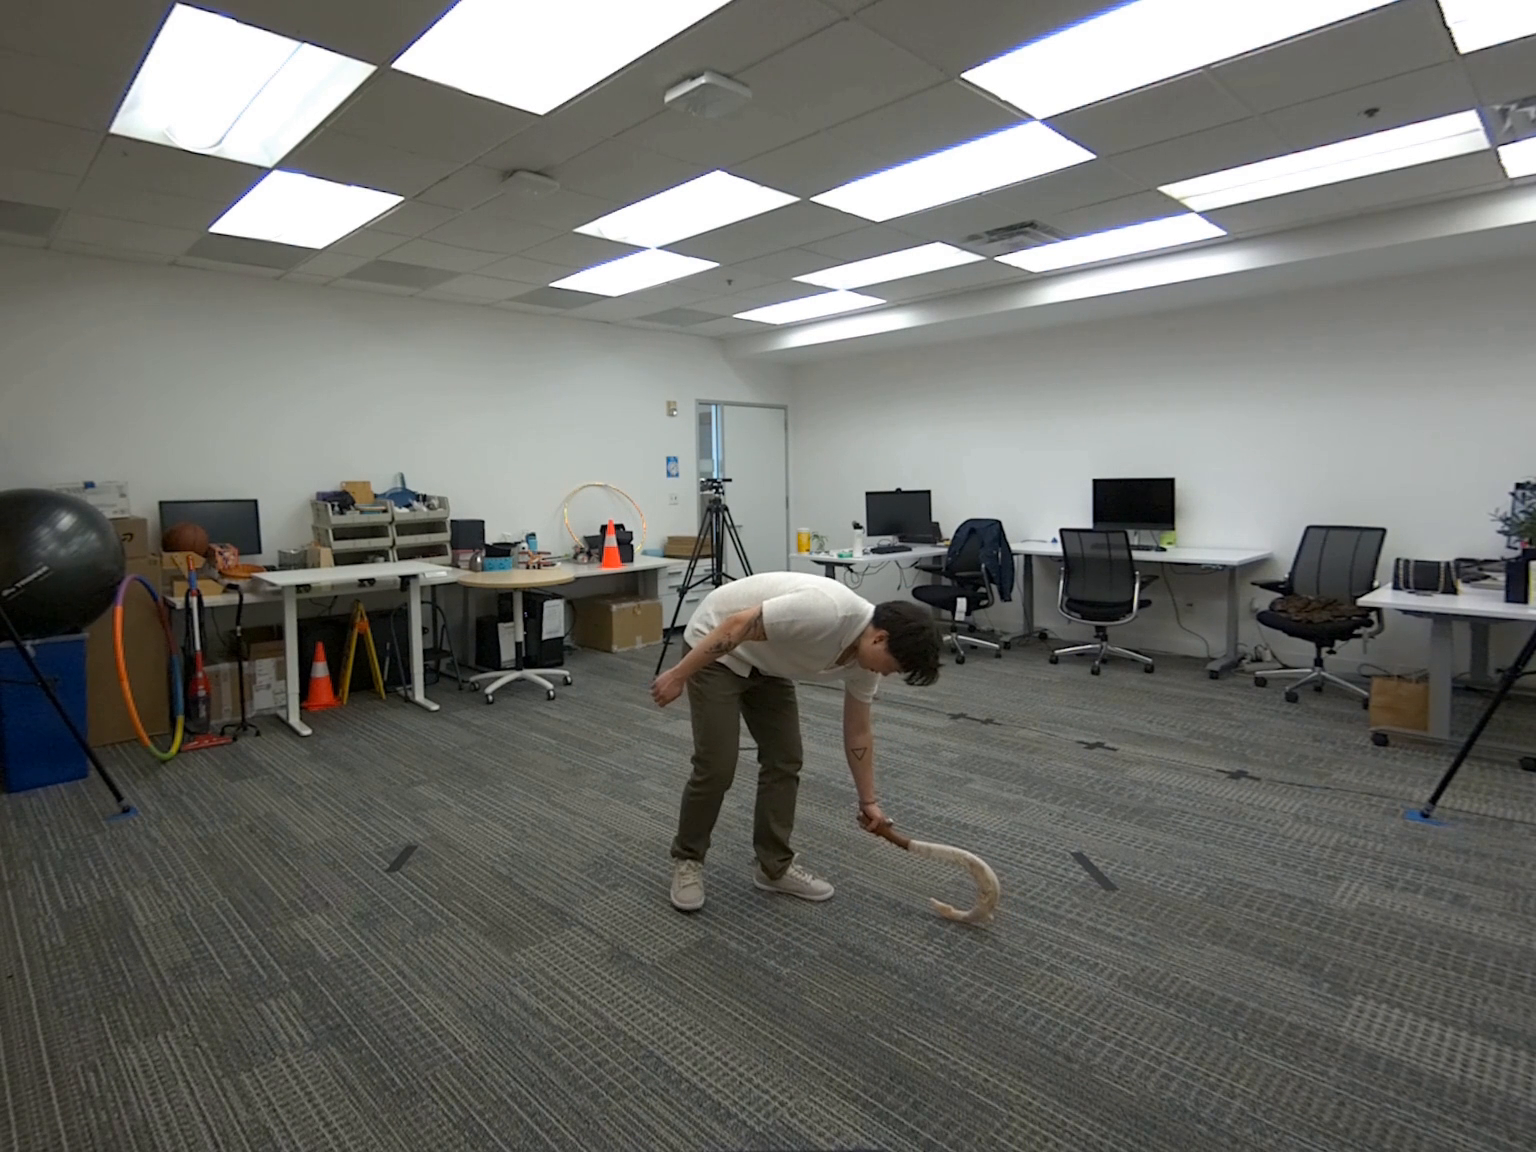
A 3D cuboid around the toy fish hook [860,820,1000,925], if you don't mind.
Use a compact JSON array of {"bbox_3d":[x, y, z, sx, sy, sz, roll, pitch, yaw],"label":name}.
[{"bbox_3d":[0.496,0.936,2.748,0.524,0.224,0.047,18,3,35],"label":"toy fish hook"}]
